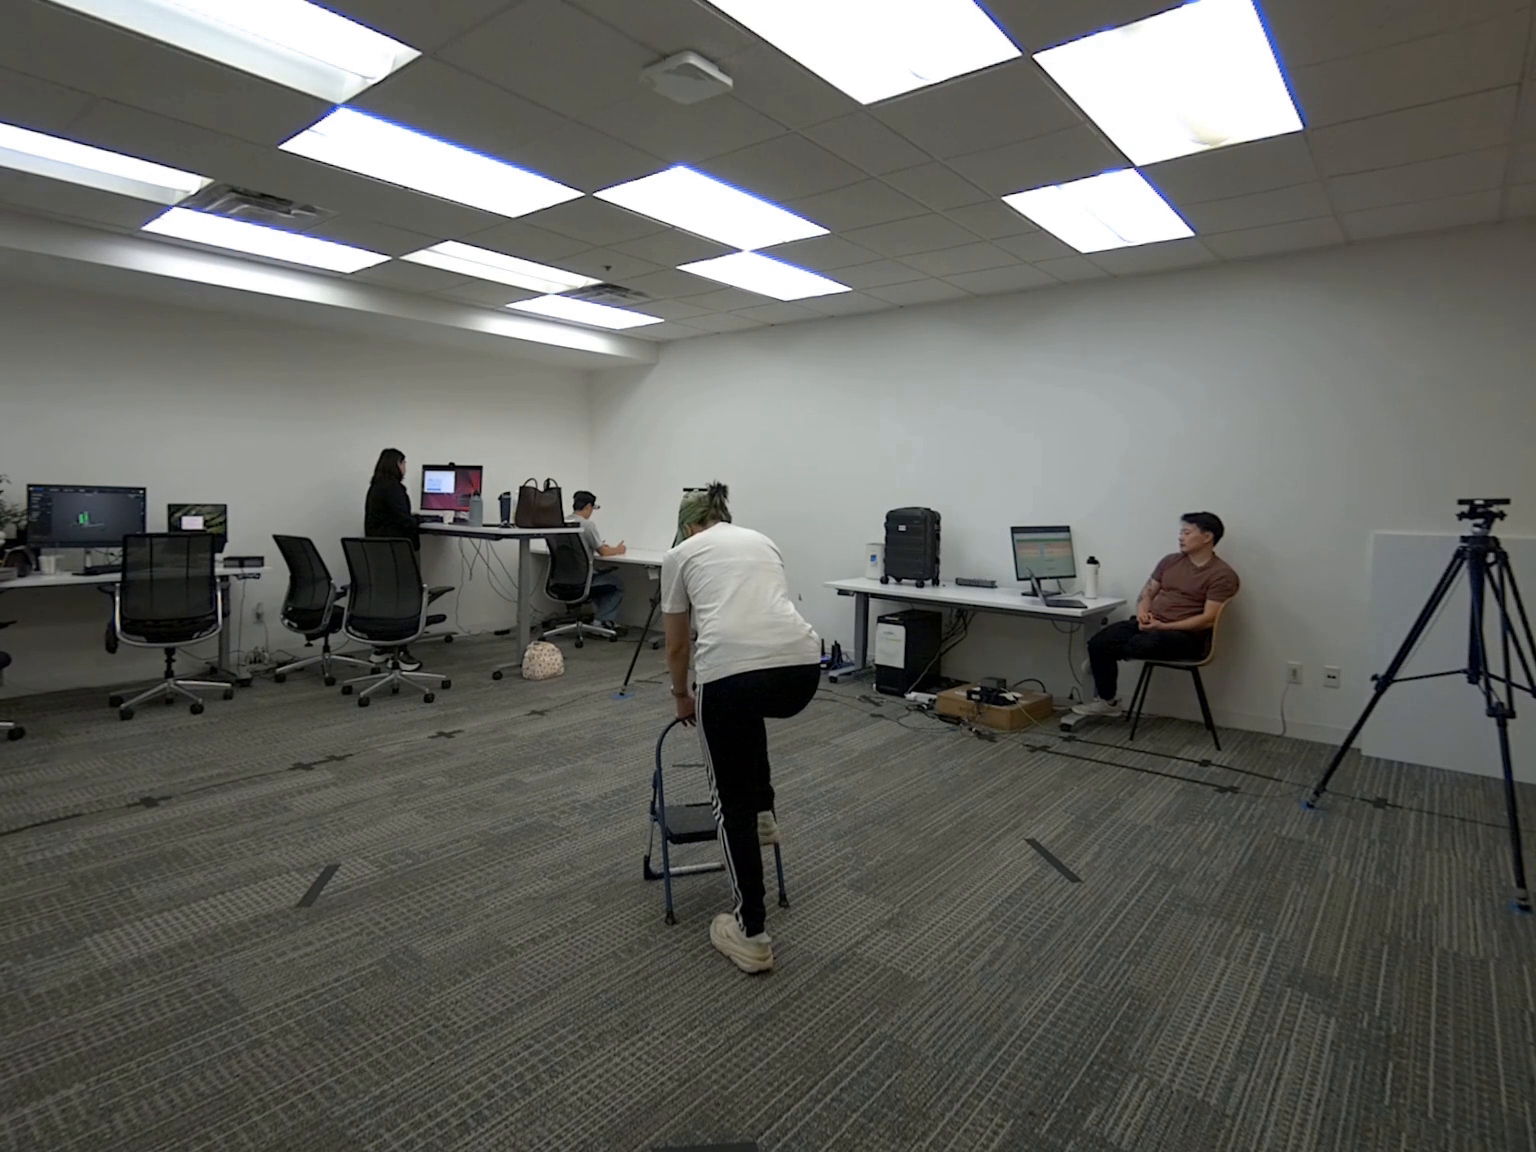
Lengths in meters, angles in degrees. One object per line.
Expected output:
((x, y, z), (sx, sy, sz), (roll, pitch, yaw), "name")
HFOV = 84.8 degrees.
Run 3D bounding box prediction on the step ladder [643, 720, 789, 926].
((-0.193, 0.787, 2.919), (0.422, 0.604, 0.358), (0, 3, -21), "step ladder")
